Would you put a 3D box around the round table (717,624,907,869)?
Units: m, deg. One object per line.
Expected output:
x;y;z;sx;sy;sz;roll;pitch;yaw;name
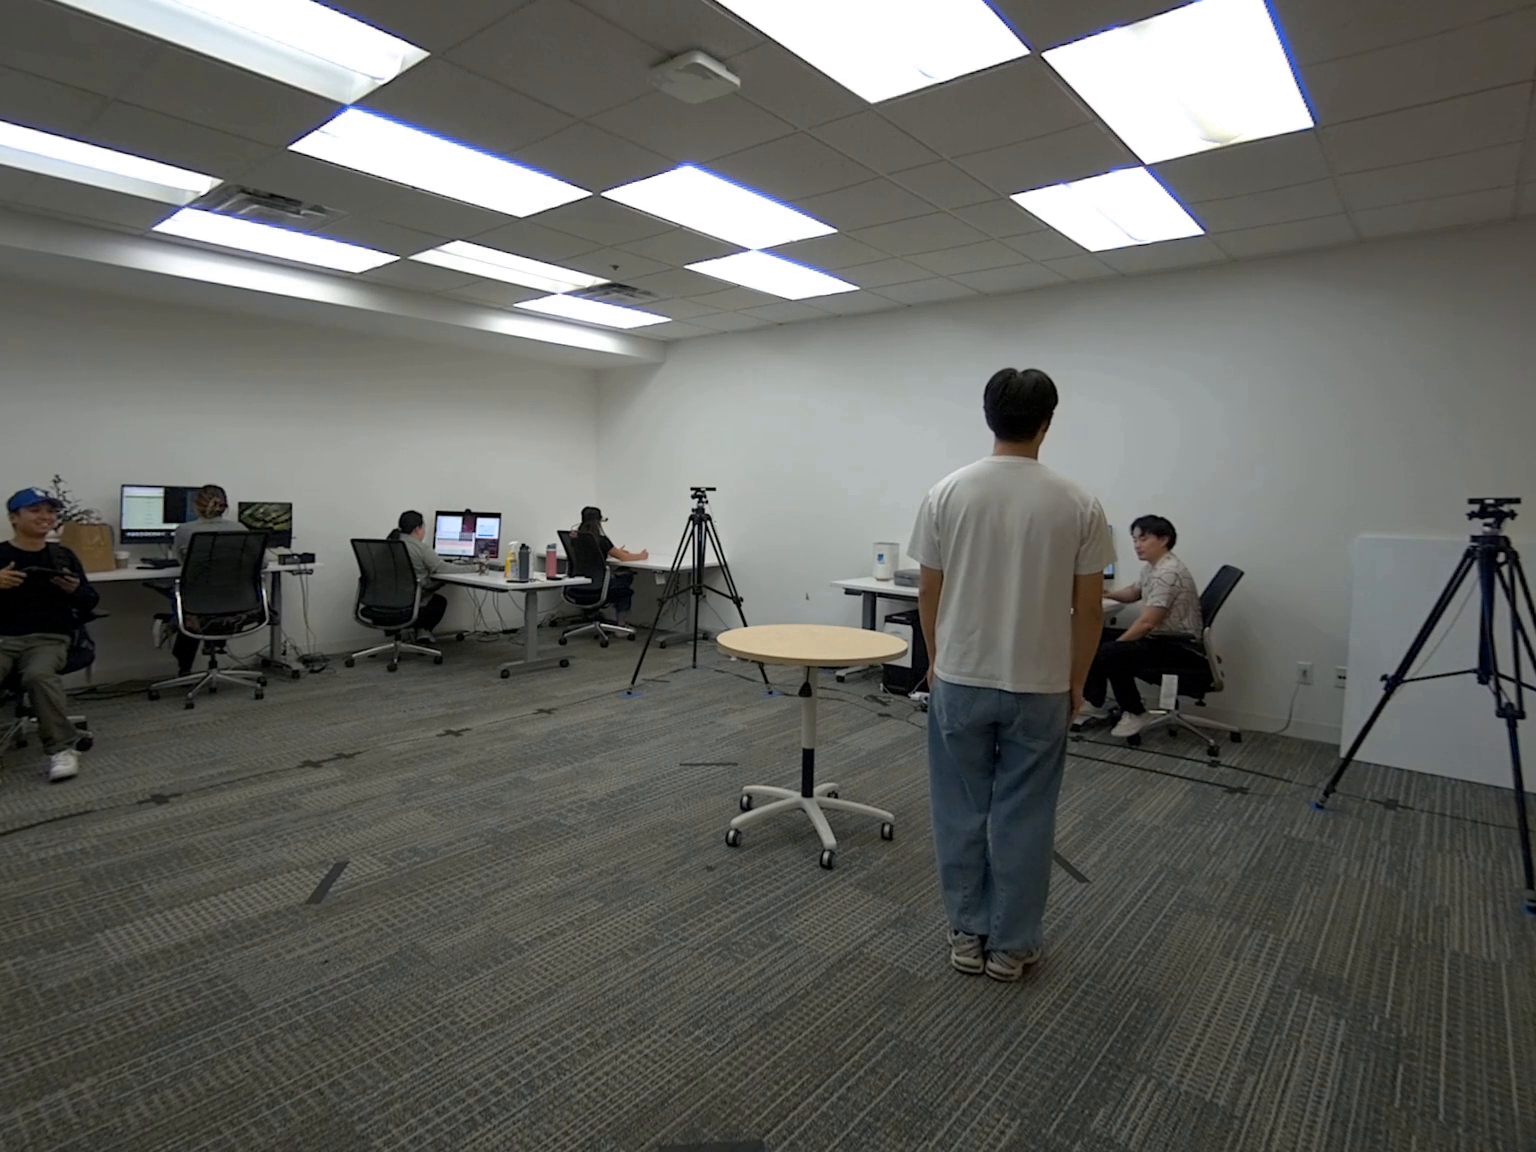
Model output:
0.148;0.649;3.466;0.763;0.791;0.768;1;4;-2;round table
